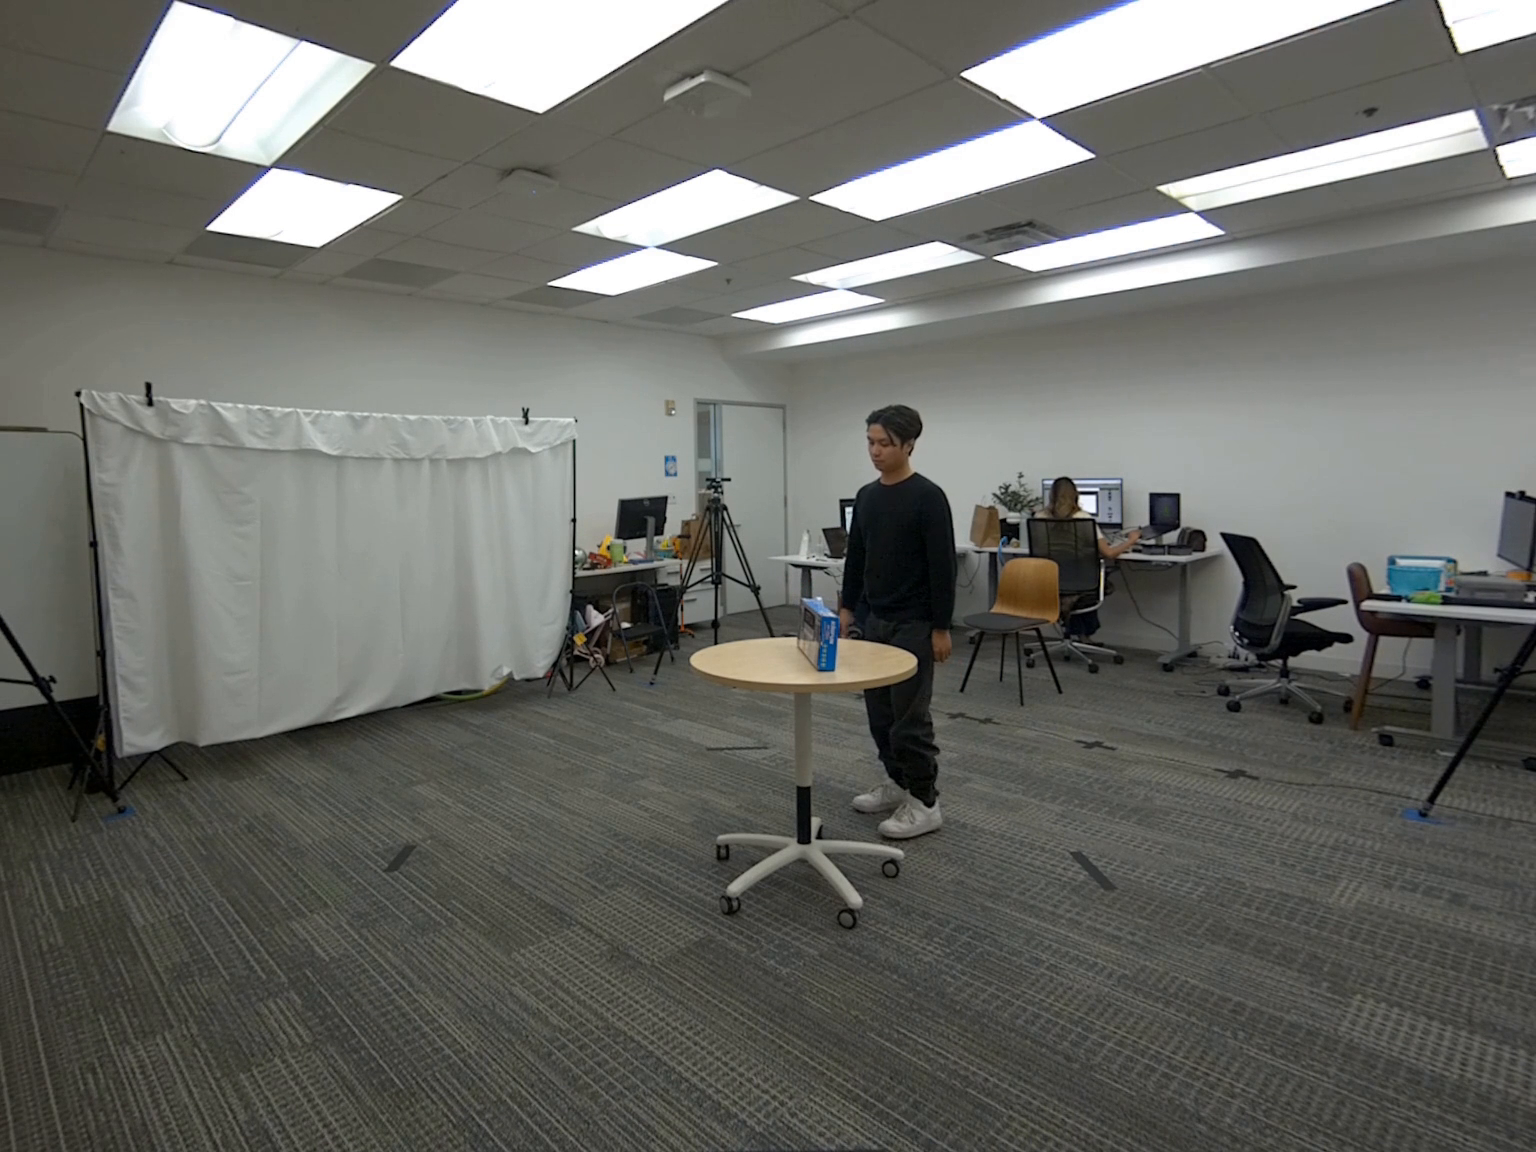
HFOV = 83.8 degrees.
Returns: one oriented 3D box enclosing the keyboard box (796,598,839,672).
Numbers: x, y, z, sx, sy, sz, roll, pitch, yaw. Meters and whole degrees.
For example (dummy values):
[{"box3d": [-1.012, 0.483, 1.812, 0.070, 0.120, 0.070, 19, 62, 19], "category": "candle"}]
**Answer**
[{"box3d": [0.169, 0.191, 2.893, 0.059, 0.175, 0.440, 4, 4, -6], "category": "keyboard box"}]
